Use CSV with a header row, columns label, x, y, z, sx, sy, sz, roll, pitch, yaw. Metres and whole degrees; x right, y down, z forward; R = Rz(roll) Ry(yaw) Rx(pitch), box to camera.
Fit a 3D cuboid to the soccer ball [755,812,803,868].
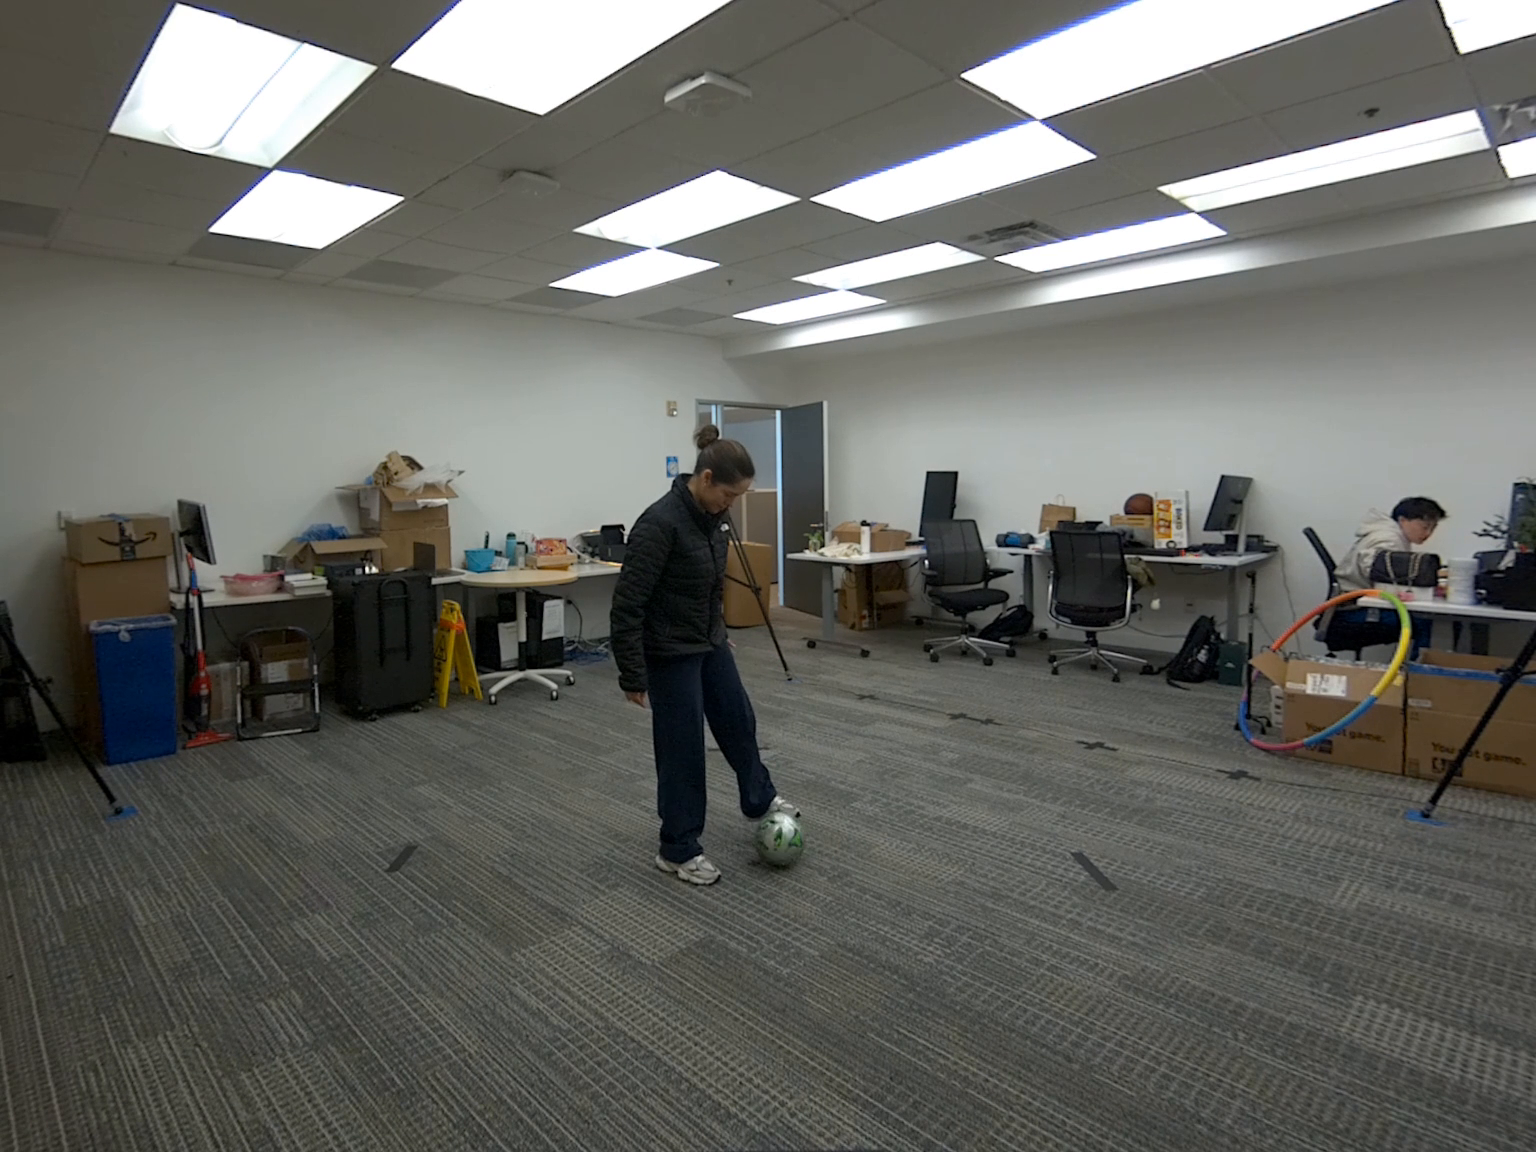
label,x,y,z,sx,sy,sz,roll,pitch,yaw
soccer ball,0.040,0.947,3.088,0.187,0.187,0.188,-1,5,-2
